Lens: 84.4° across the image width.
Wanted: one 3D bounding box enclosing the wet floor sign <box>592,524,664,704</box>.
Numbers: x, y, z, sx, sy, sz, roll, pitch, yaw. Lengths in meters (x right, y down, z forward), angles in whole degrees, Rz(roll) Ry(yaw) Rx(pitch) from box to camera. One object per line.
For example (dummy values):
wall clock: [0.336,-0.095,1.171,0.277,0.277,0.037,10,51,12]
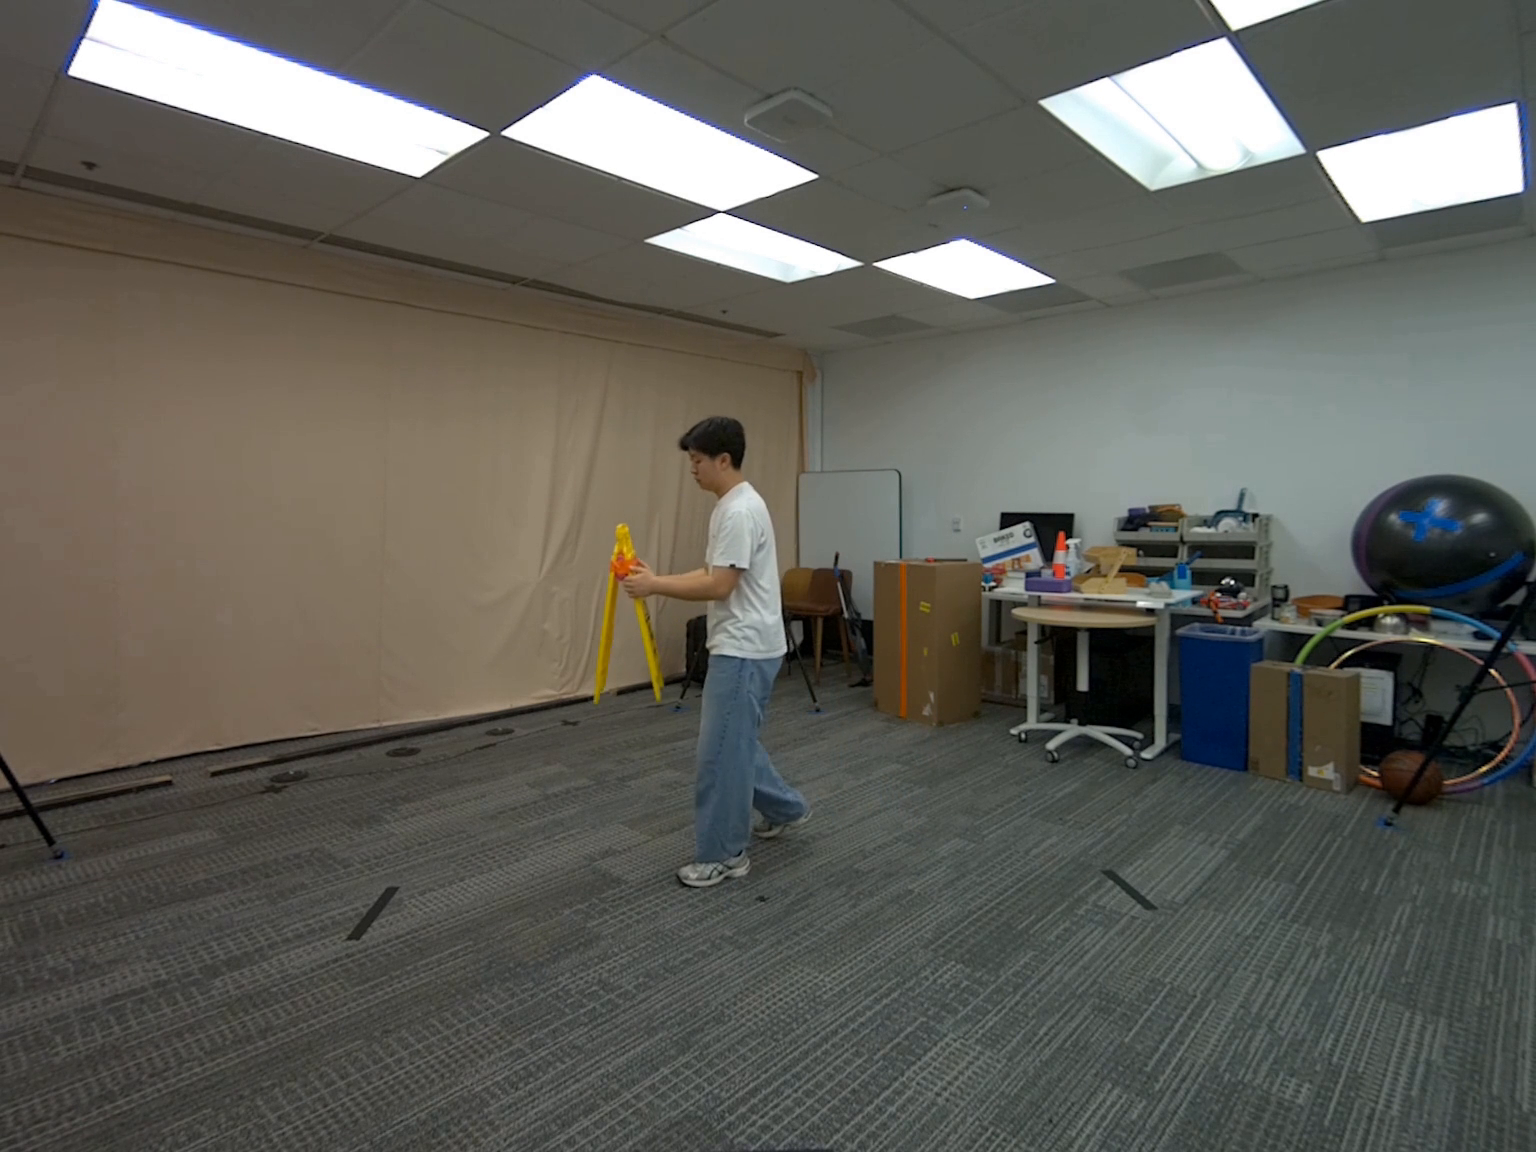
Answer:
wet floor sign: [-0.537,0.132,3.205,0.289,0.644,0.284,-3,4,-3]
